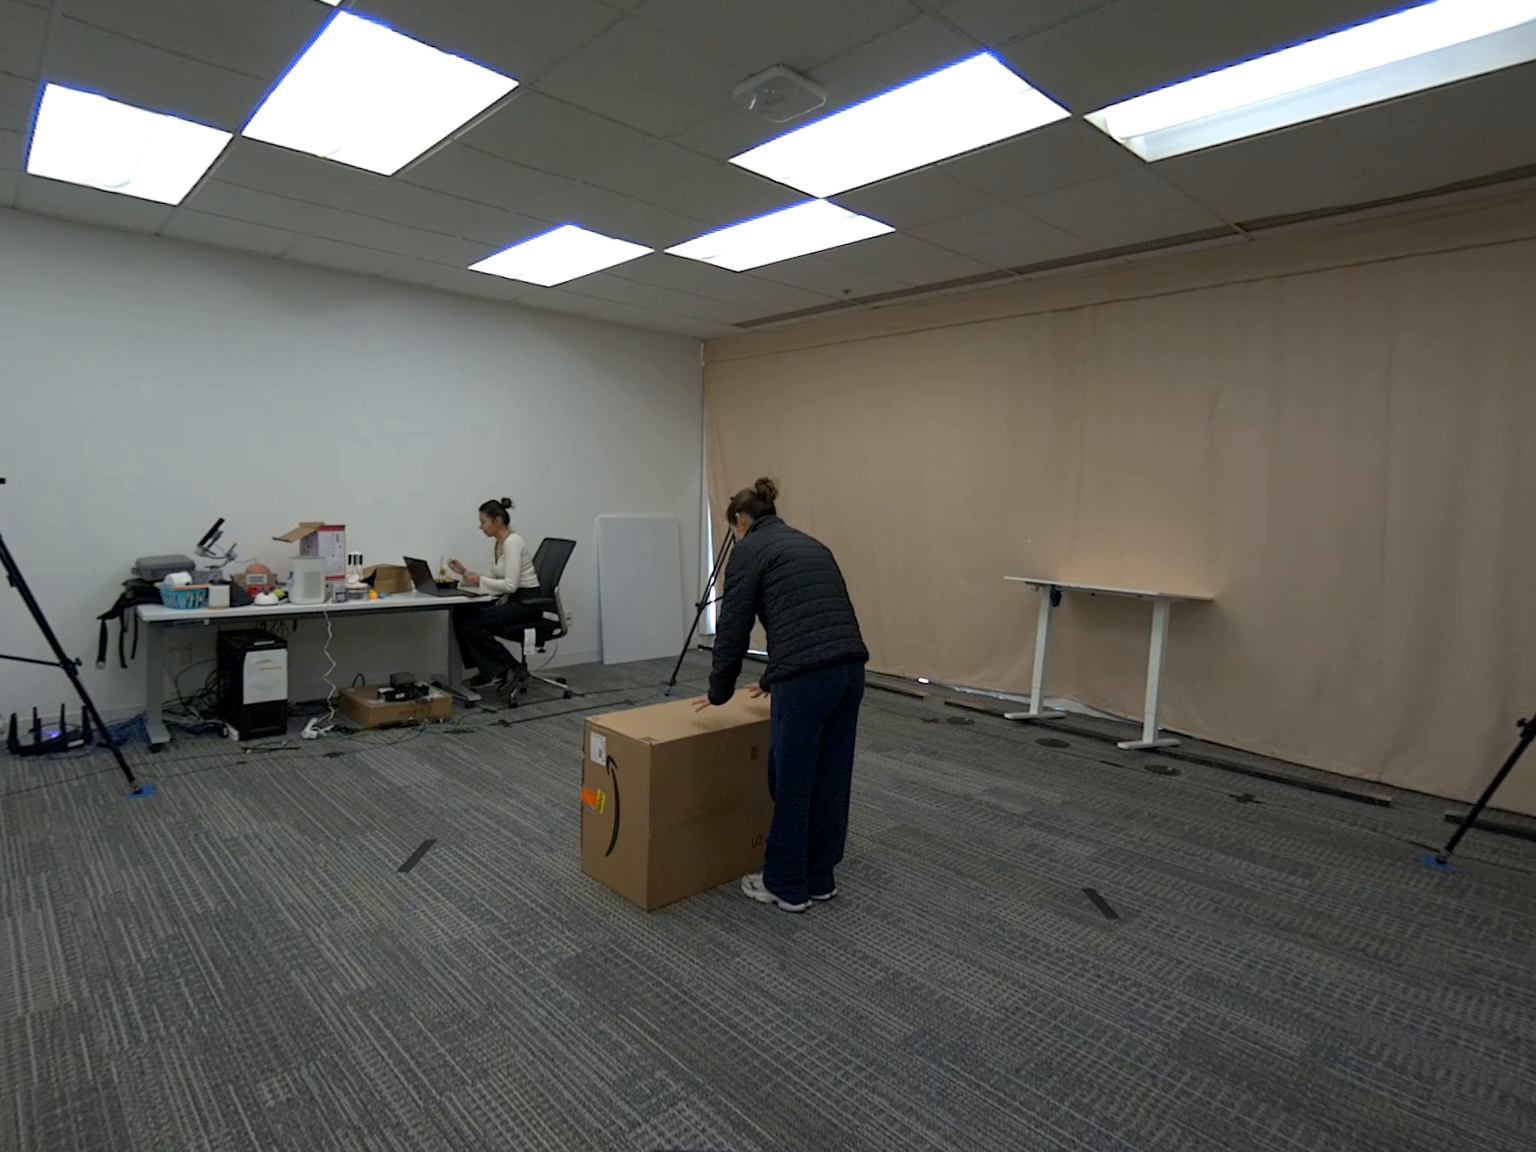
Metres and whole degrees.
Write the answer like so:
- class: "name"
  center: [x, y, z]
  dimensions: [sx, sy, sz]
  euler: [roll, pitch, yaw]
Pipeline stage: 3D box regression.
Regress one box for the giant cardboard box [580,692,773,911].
- class: "giant cardboard box"
  center: [-0.183, 0.804, 3.281]
  dimensions: [1.003, 0.582, 0.458]
  euler: [-2, 7, -42]
